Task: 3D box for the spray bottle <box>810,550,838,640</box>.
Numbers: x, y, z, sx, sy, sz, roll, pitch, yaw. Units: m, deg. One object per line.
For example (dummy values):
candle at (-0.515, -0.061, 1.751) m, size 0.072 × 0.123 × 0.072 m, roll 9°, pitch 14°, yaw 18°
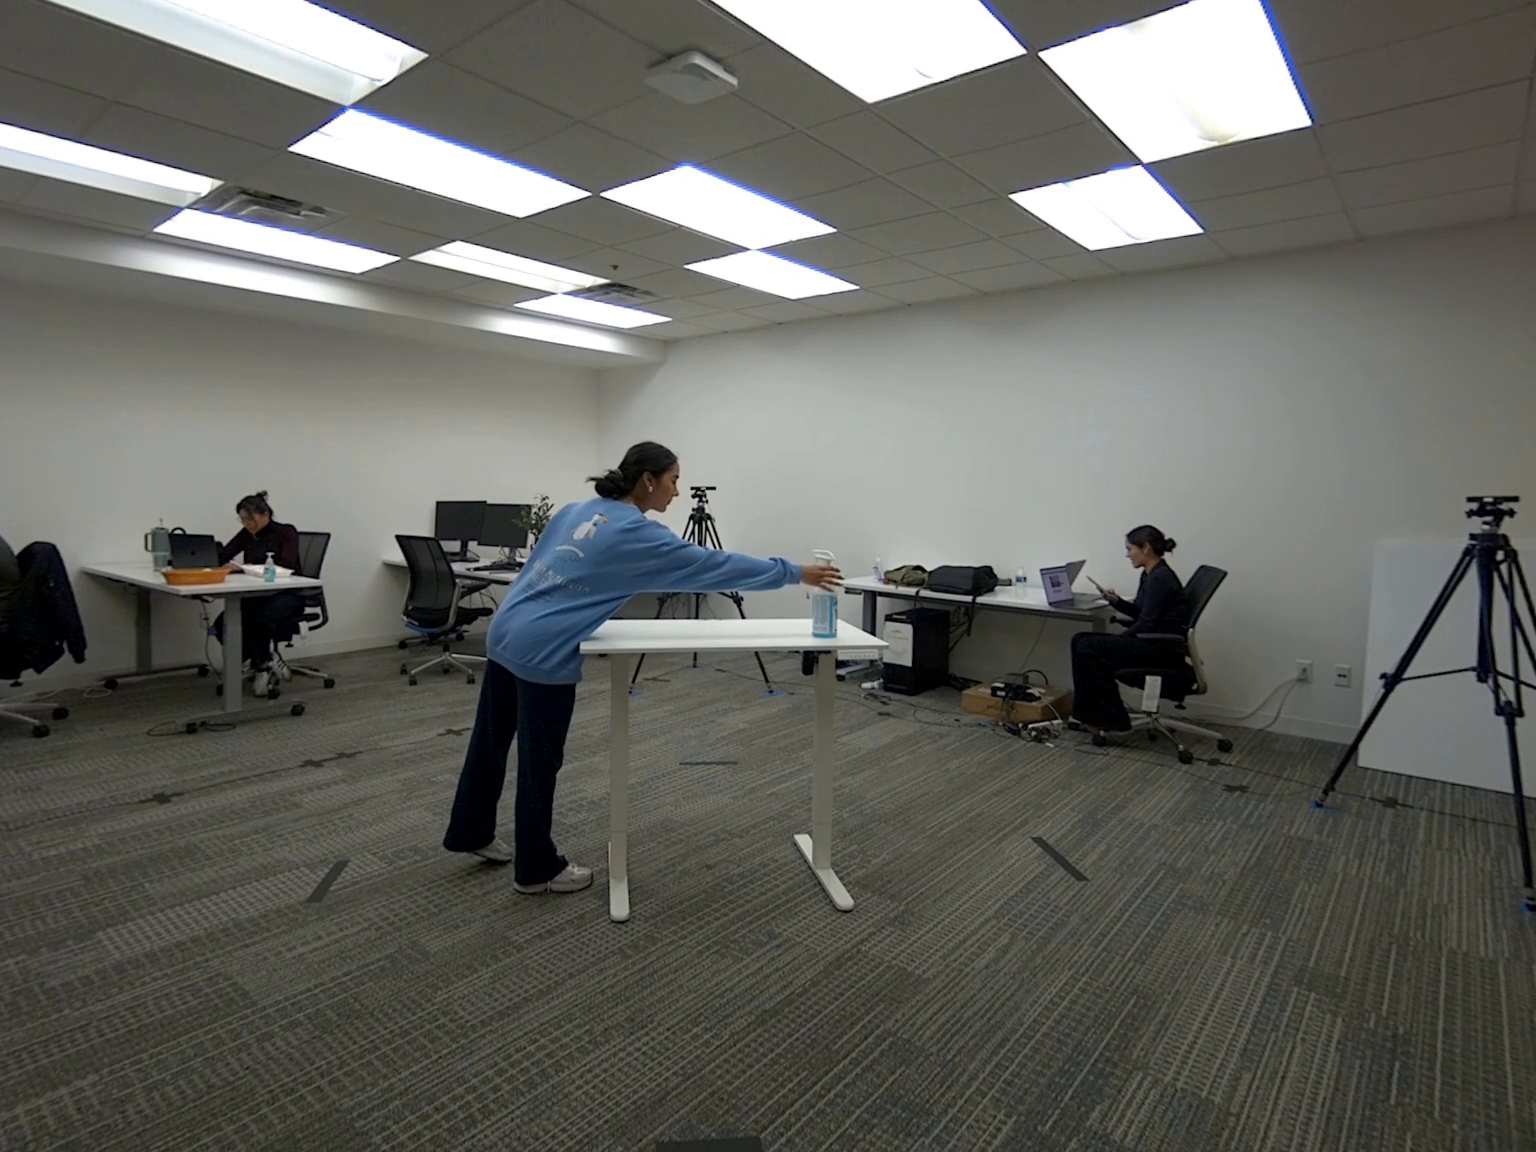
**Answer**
spray bottle at (0.190, 0.062, 2.929) m, size 0.085 × 0.297 × 0.092 m, roll 0°, pitch 0°, yaw -26°
